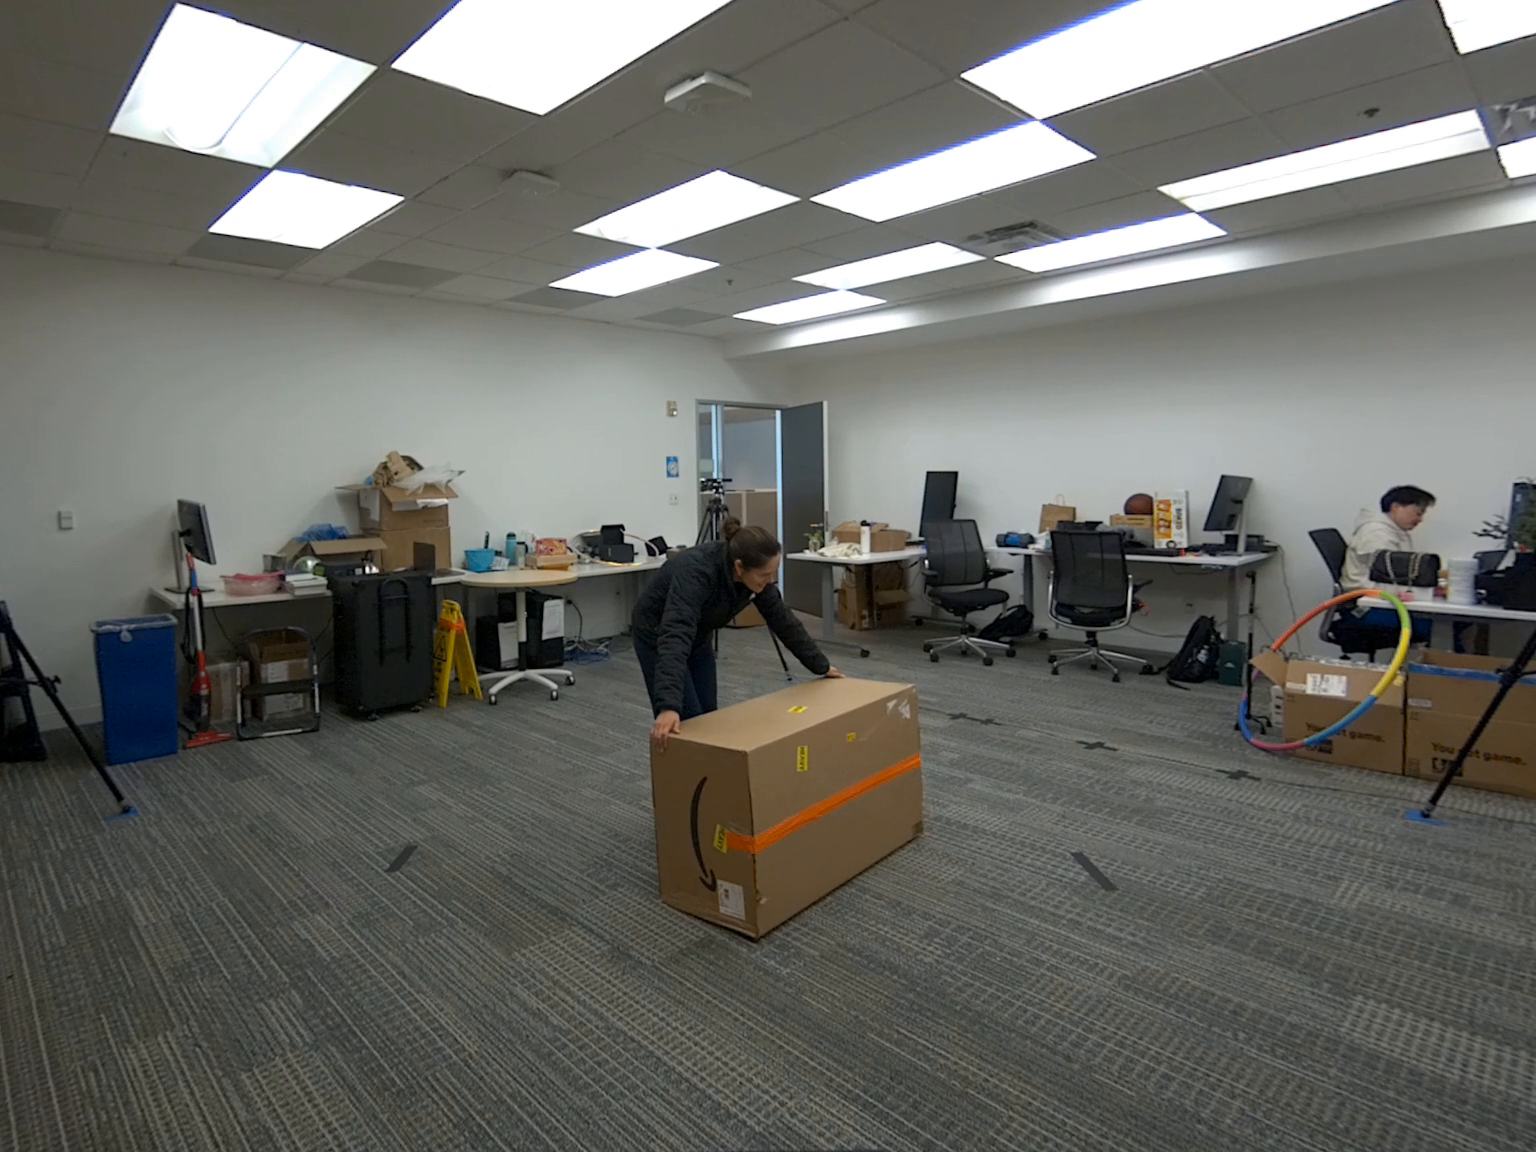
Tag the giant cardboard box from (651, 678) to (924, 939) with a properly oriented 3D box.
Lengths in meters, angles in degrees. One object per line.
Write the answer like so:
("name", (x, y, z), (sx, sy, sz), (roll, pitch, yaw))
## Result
("giant cardboard box", (0.102, 0.752, 3.071), (0.460, 0.582, 1.001), (0, 6, 39))
